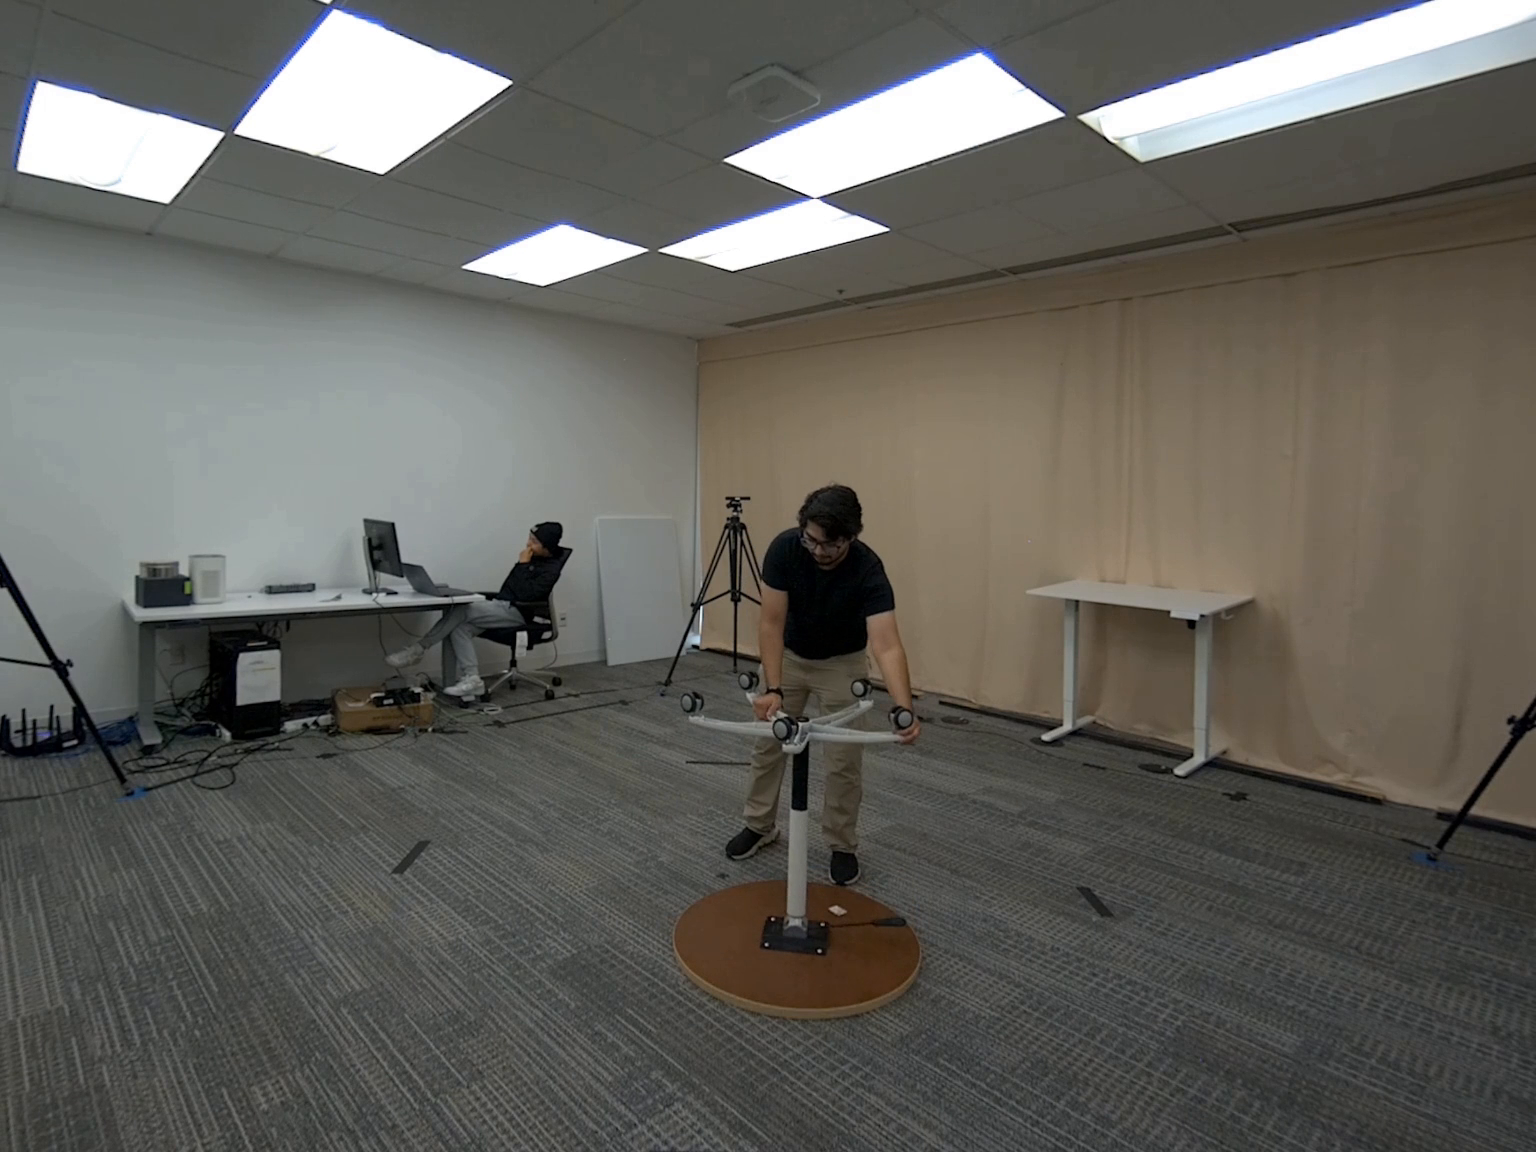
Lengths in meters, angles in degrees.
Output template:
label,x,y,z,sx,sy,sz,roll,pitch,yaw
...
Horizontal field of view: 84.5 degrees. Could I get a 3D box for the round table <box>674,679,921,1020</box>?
label,x,y,z,sx,sy,sz,roll,pitch,yaw
round table,0.079,0.754,2.608,0.784,0.785,0.787,0,3,-1
